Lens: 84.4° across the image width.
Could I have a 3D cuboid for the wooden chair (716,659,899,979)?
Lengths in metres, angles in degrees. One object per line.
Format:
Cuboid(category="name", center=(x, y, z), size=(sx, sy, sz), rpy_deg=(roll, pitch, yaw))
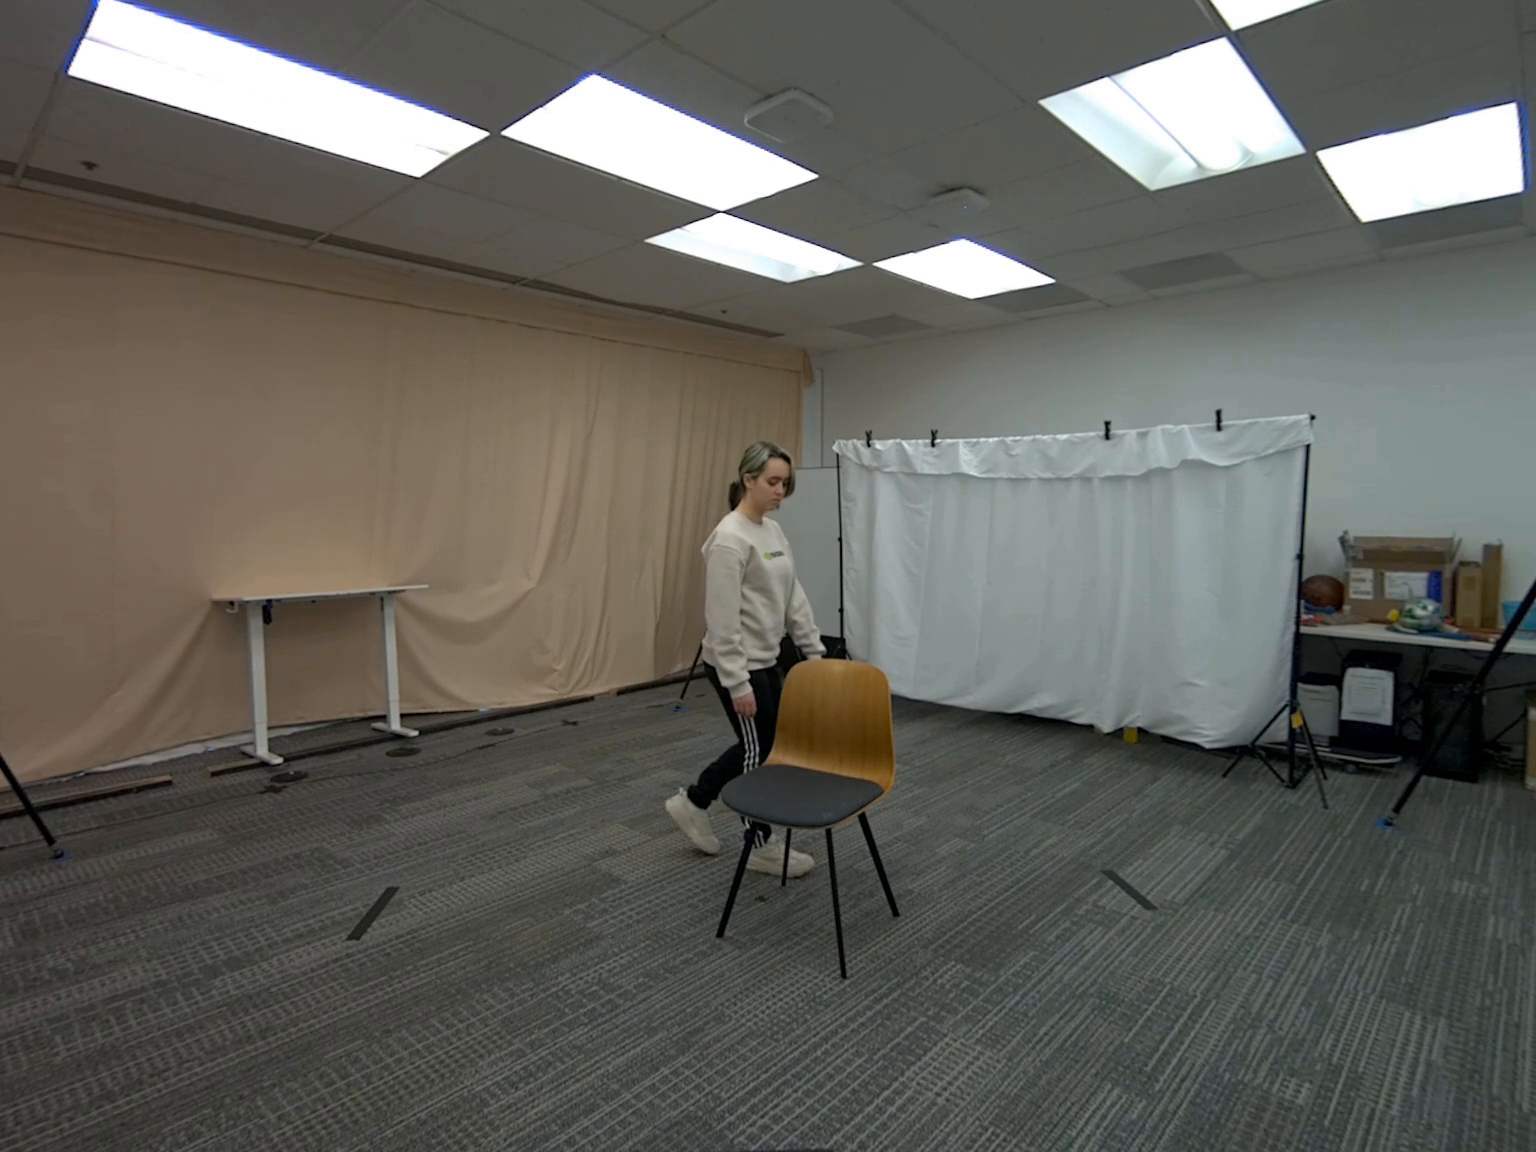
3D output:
Cuboid(category="wooden chair", center=(0.142, 0.737, 2.745), size=(0.492, 0.877, 0.508), rpy_deg=(2, 0, 31))
